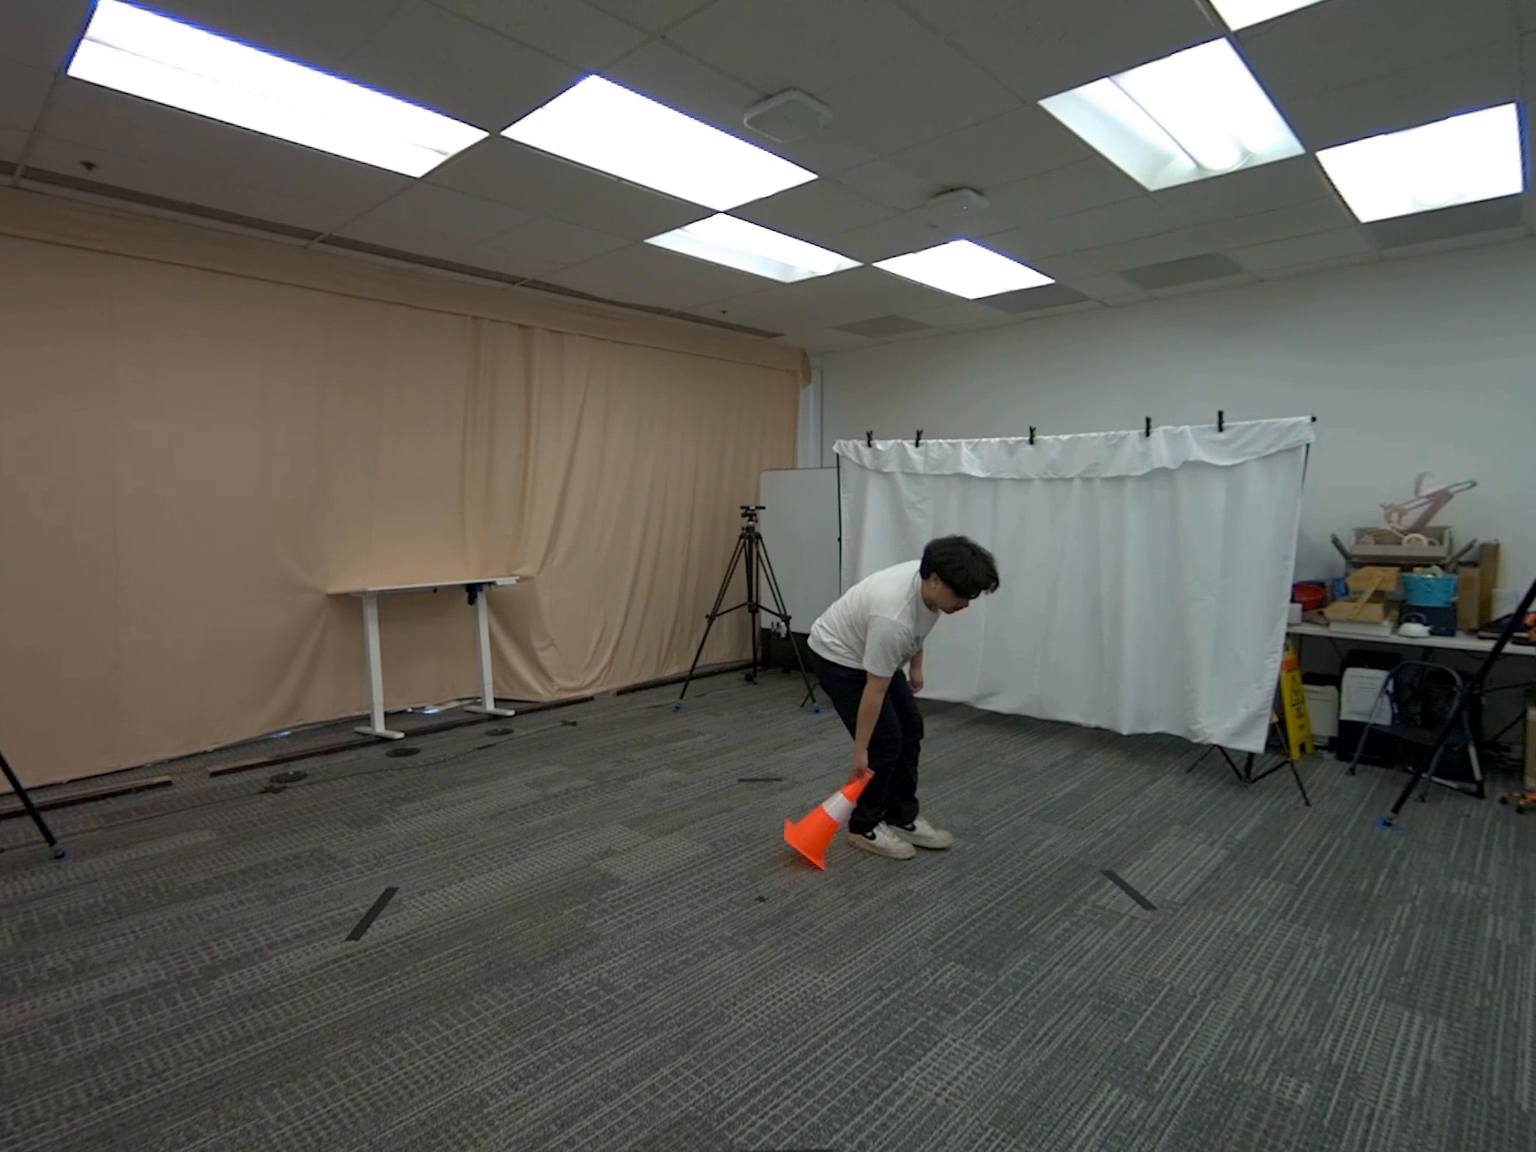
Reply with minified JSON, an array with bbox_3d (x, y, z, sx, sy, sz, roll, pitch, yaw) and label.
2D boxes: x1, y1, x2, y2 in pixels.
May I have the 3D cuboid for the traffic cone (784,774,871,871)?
[{"bbox_3d":[0.265,0.914,3.277,0.205,0.384,0.203,41,7,4],"label":"traffic cone"}]
